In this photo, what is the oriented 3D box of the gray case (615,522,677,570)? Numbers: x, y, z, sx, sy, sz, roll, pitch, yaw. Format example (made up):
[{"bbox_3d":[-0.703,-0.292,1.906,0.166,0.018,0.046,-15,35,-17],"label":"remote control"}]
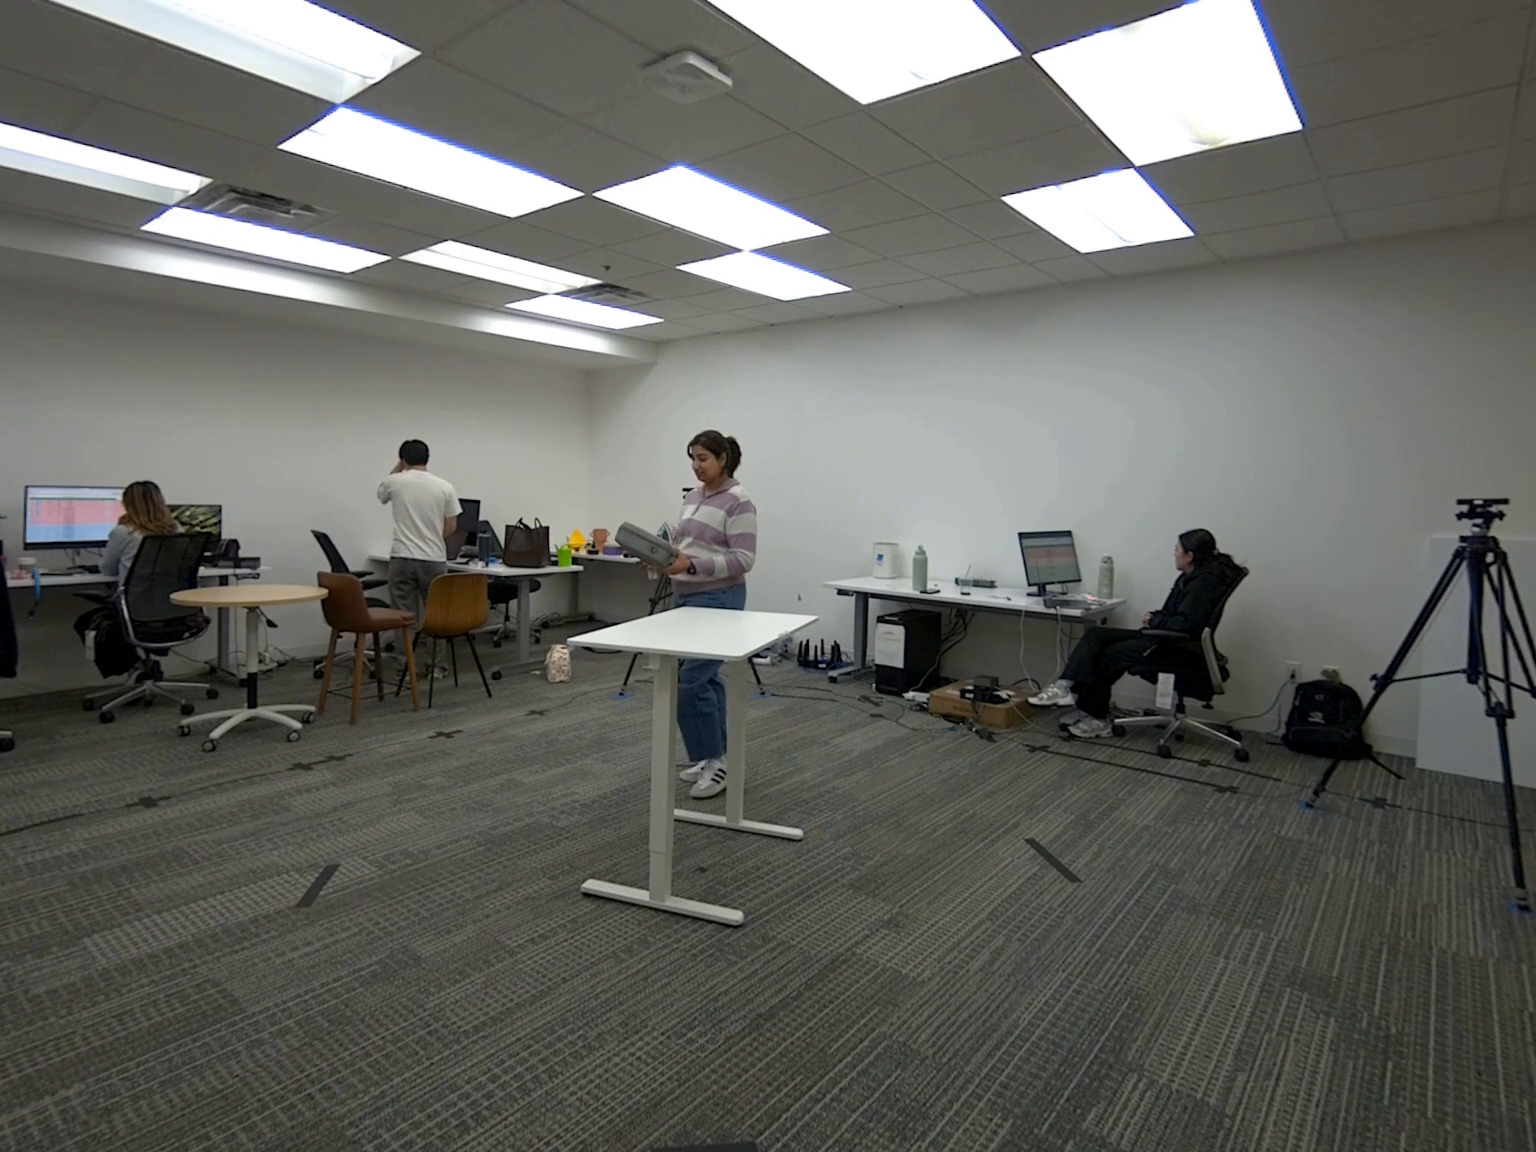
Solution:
[{"bbox_3d":[-0.553,-0.129,3.771,0.266,0.105,0.251,26,-11,13],"label":"gray case"}]
